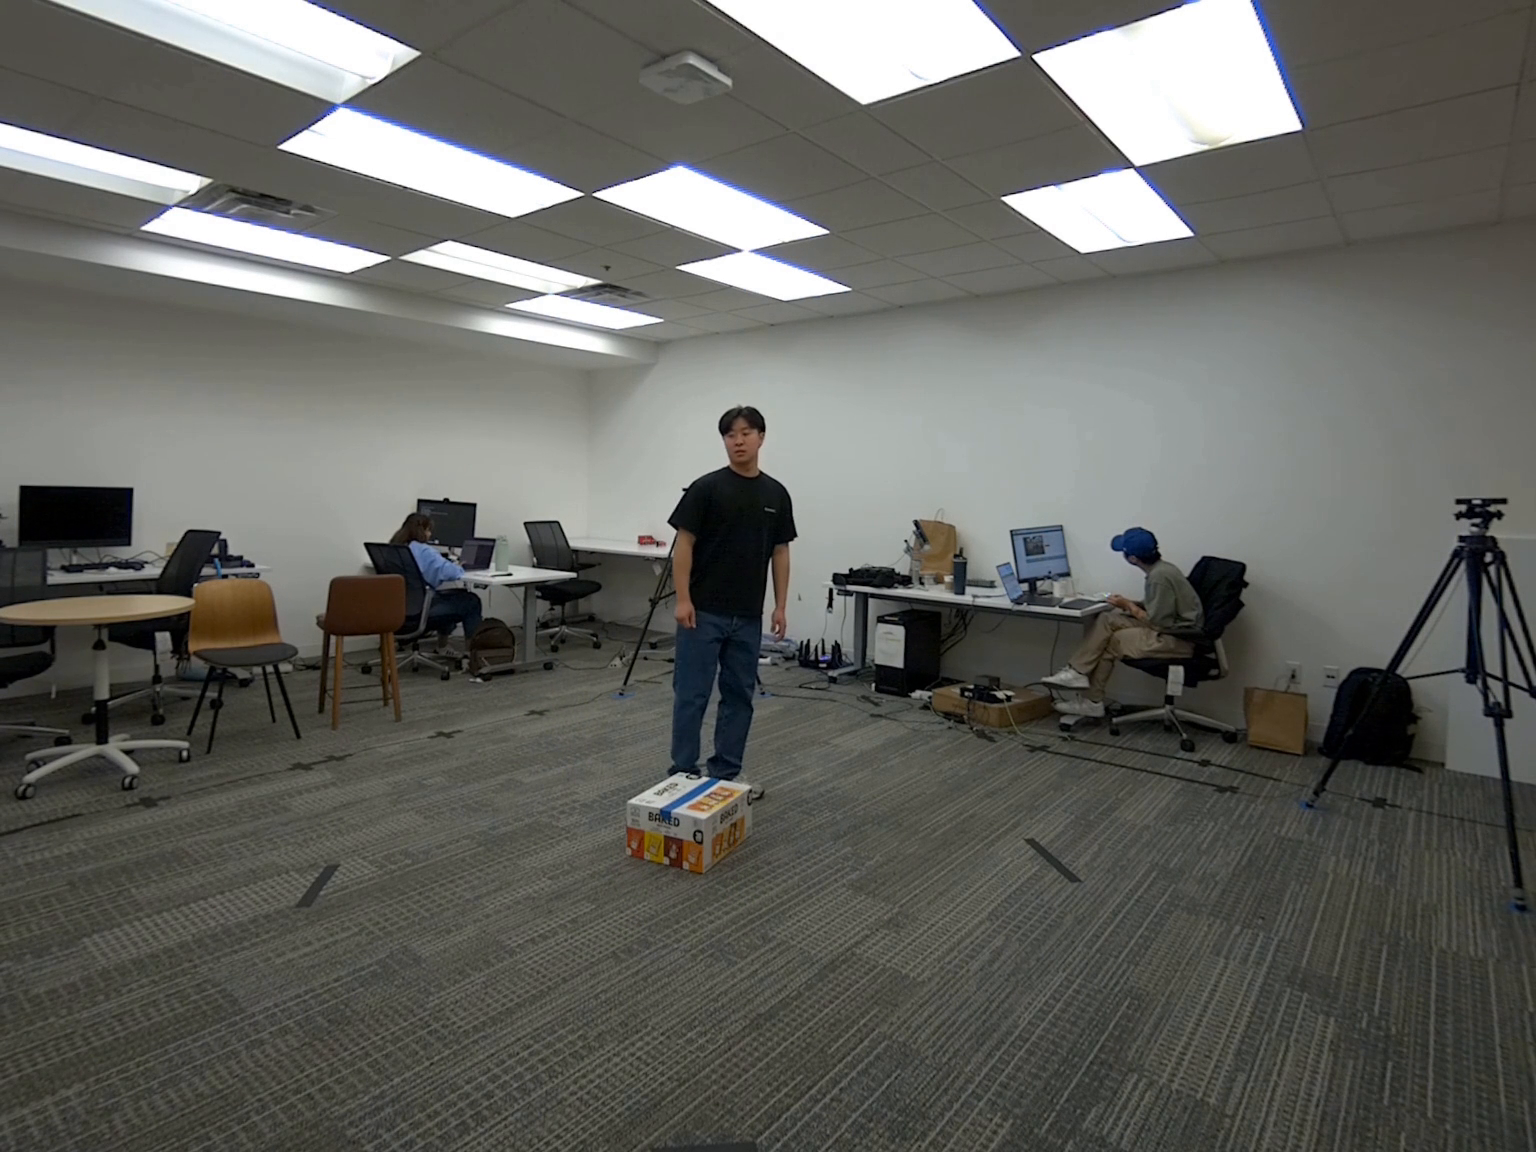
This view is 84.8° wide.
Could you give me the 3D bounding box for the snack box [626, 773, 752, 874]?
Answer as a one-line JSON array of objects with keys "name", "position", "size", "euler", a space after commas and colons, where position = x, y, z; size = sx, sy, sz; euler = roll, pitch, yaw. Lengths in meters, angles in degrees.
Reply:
[{"name": "snack box", "position": [-0.311, 0.946, 3.317], "size": [0.349, 0.205, 0.396], "euler": [3, 6, 26]}]
